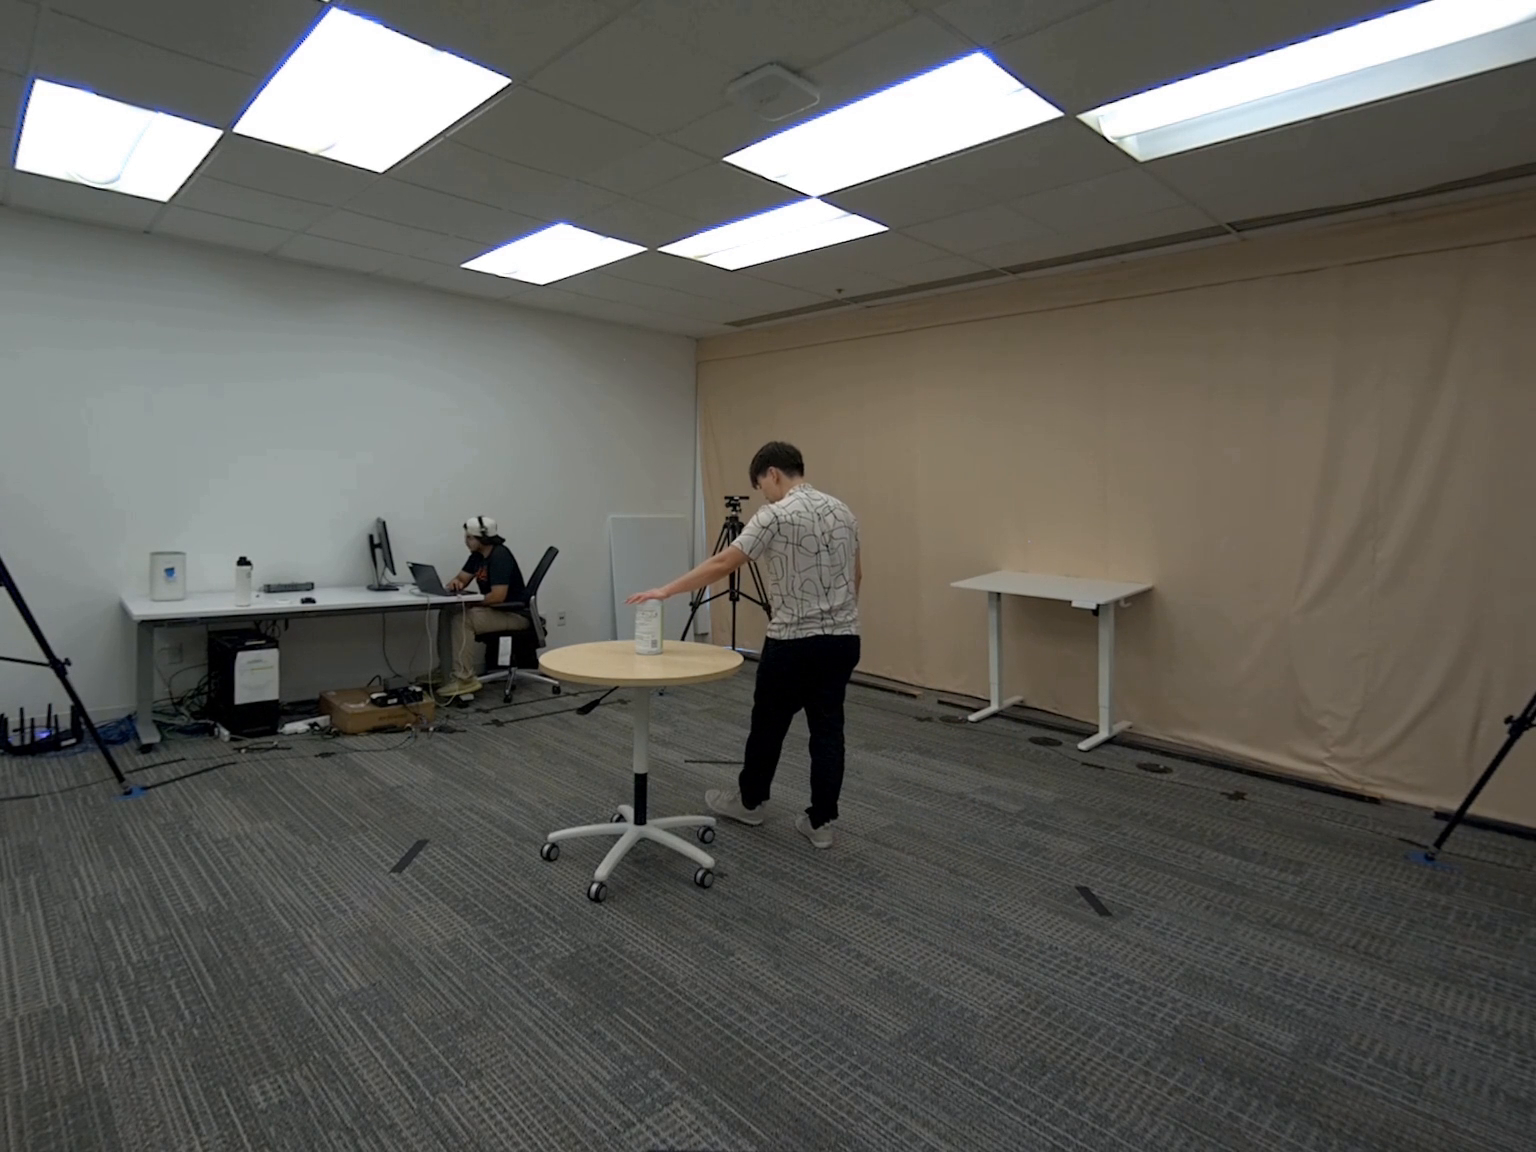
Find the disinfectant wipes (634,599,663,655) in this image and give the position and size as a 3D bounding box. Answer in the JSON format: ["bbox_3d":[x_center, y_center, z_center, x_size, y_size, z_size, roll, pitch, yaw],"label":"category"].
[{"bbox_3d":[-0.469,0.195,3.269,0.118,0.217,0.118,3,3,-2],"label":"disinfectant wipes"}]
